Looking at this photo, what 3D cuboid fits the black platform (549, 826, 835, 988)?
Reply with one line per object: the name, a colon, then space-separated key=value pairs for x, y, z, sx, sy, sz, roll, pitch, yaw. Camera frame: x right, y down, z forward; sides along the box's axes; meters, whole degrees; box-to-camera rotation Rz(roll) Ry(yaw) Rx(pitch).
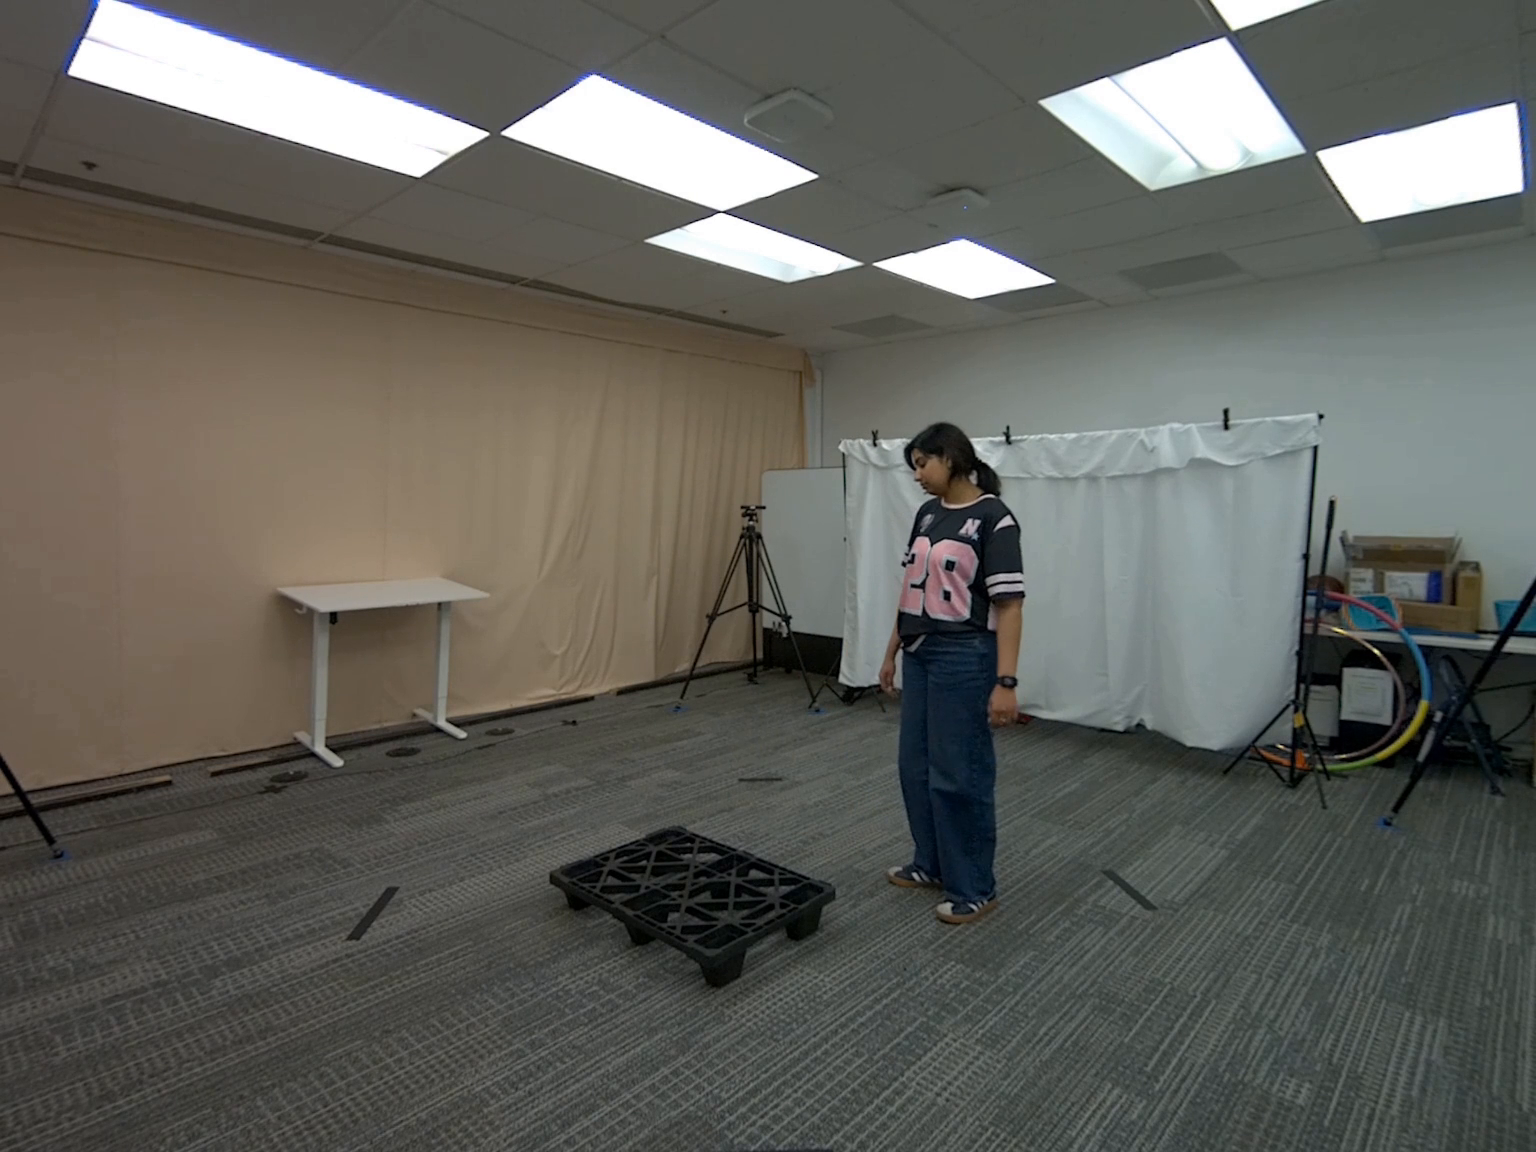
black platform: x=-0.262 y=1.092 z=2.840 sx=0.832 sy=0.143 sz=0.587 roll=3 pitch=7 yaw=43
